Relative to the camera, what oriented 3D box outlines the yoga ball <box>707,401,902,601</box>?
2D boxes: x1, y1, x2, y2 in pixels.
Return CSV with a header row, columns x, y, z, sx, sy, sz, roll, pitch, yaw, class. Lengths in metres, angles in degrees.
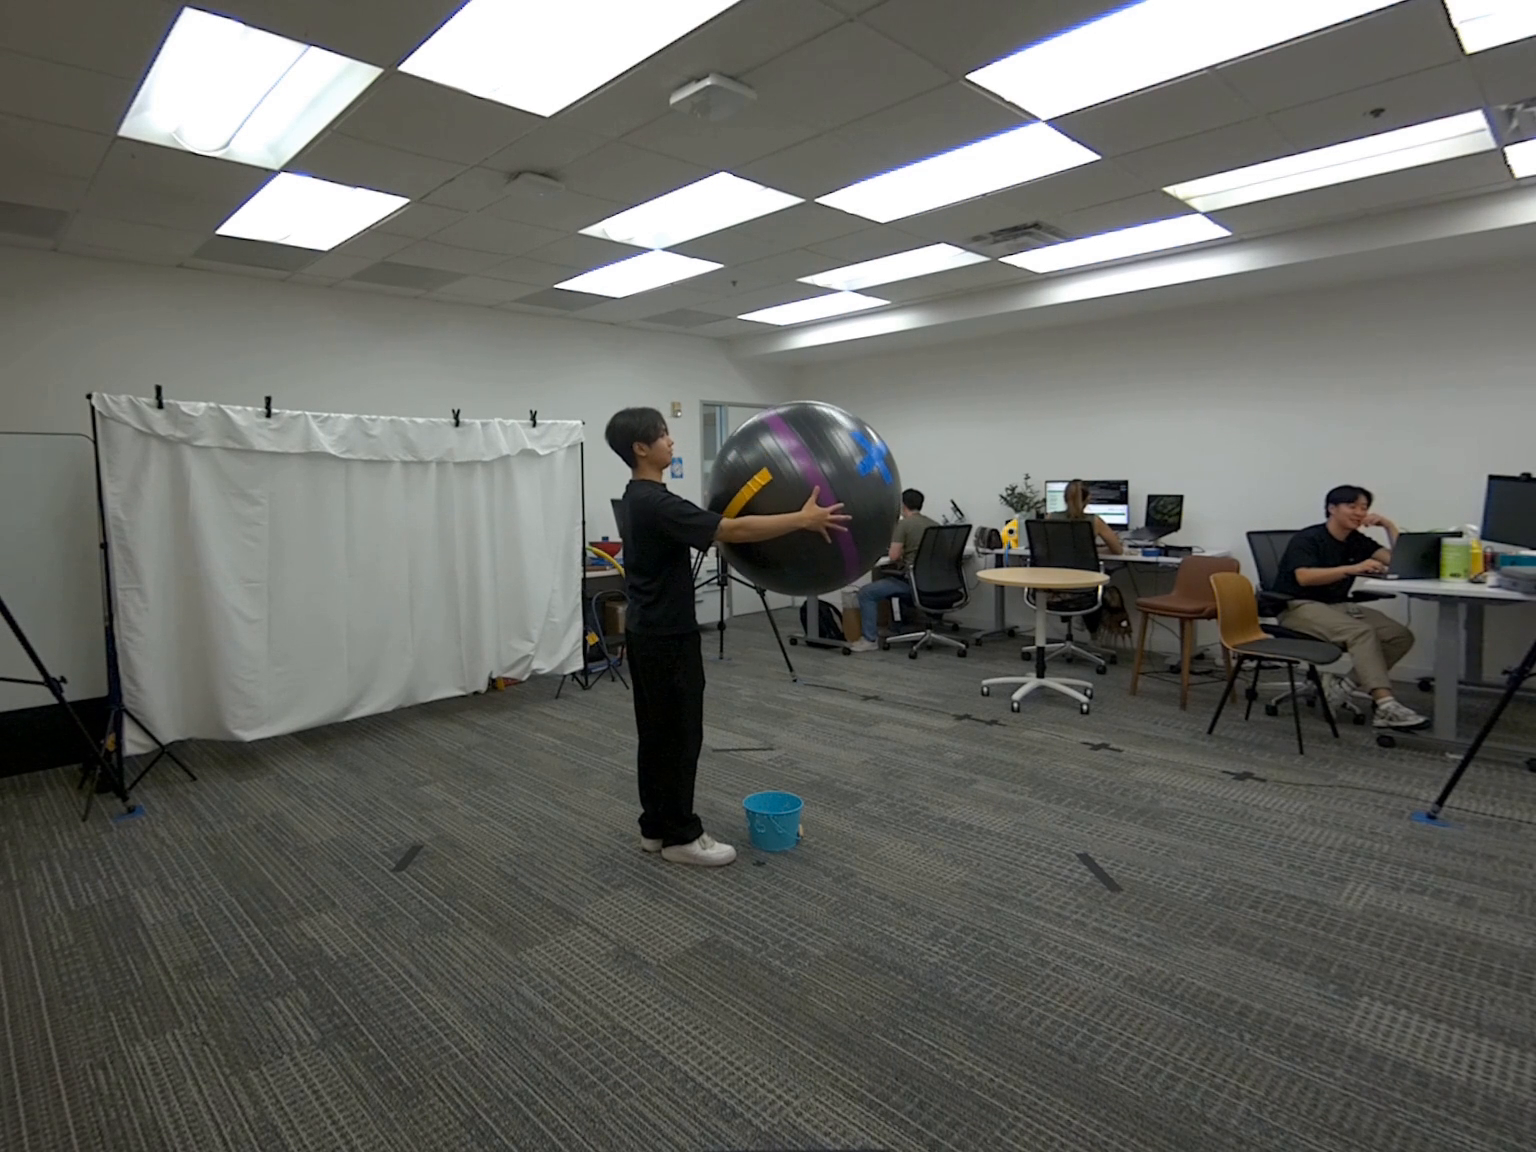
x,y,z,sx,sy,sz,roll,pitch,yaw,class
0.142,-0.290,3.344,0.757,0.755,0.762,-1,5,-2,yoga ball
